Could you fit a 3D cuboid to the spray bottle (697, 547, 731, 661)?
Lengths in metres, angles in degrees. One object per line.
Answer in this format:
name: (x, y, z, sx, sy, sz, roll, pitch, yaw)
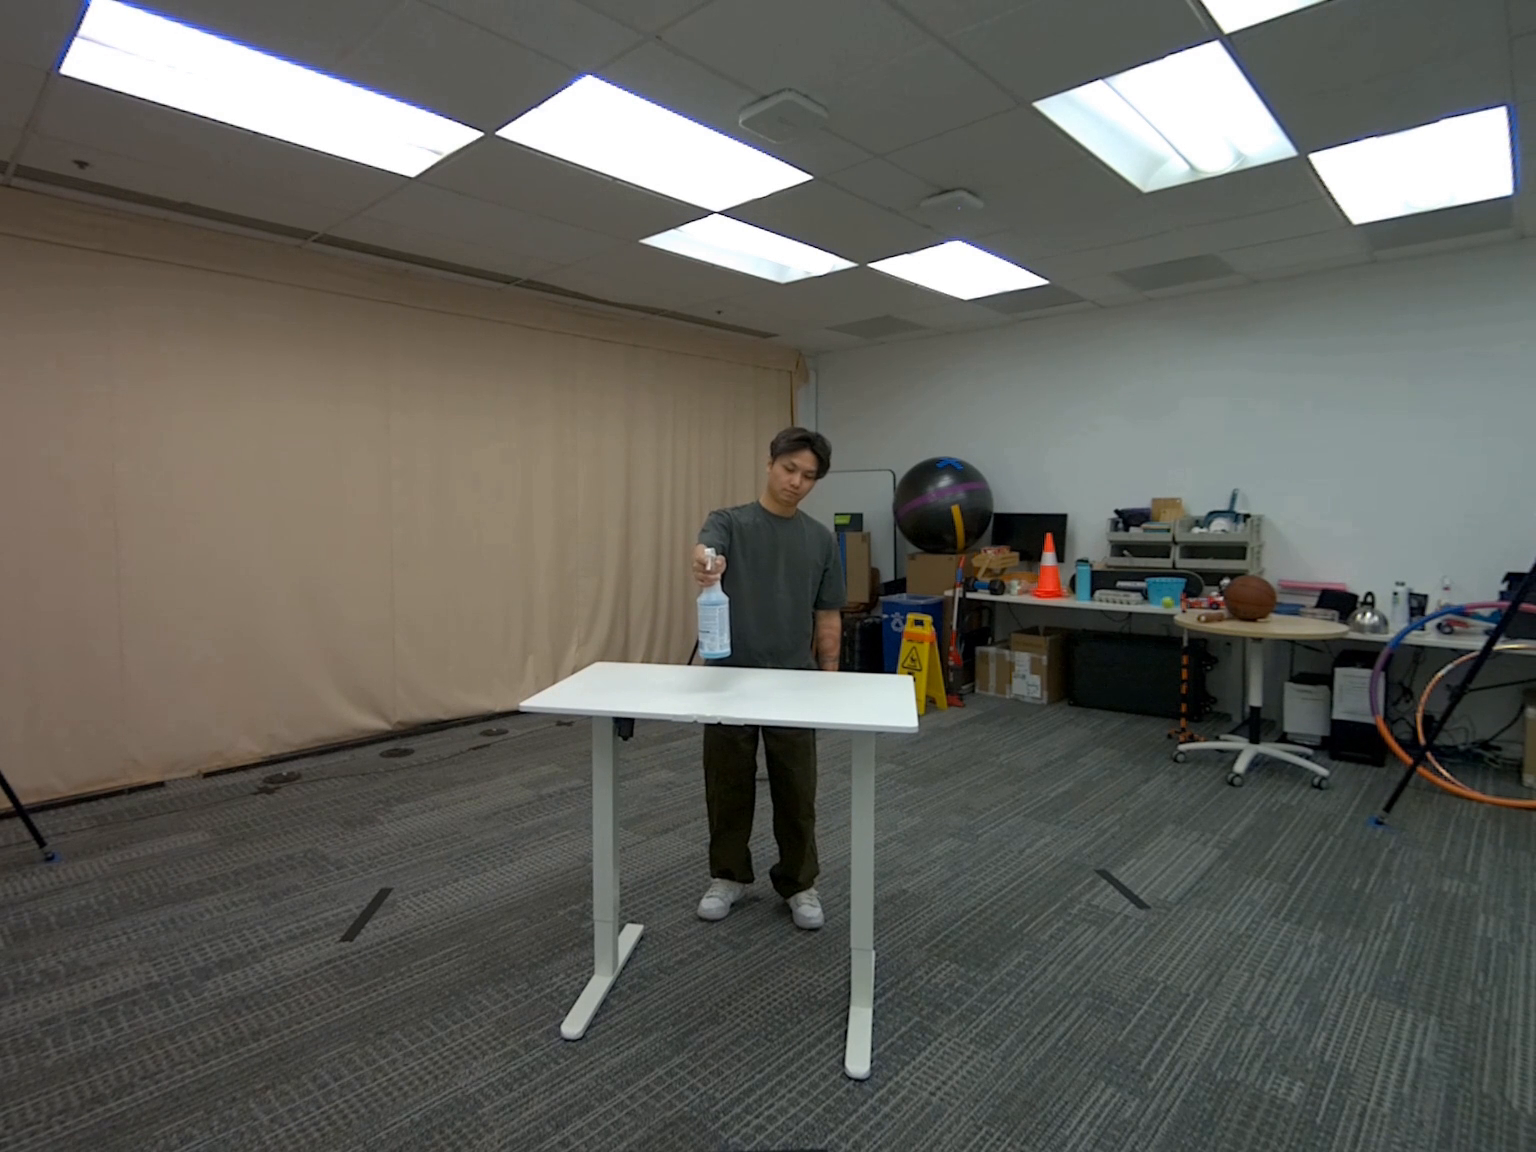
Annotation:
spray bottle: (-0.153, 0.075, 2.289, 0.090, 0.296, 0.087, 3, 6, 36)
